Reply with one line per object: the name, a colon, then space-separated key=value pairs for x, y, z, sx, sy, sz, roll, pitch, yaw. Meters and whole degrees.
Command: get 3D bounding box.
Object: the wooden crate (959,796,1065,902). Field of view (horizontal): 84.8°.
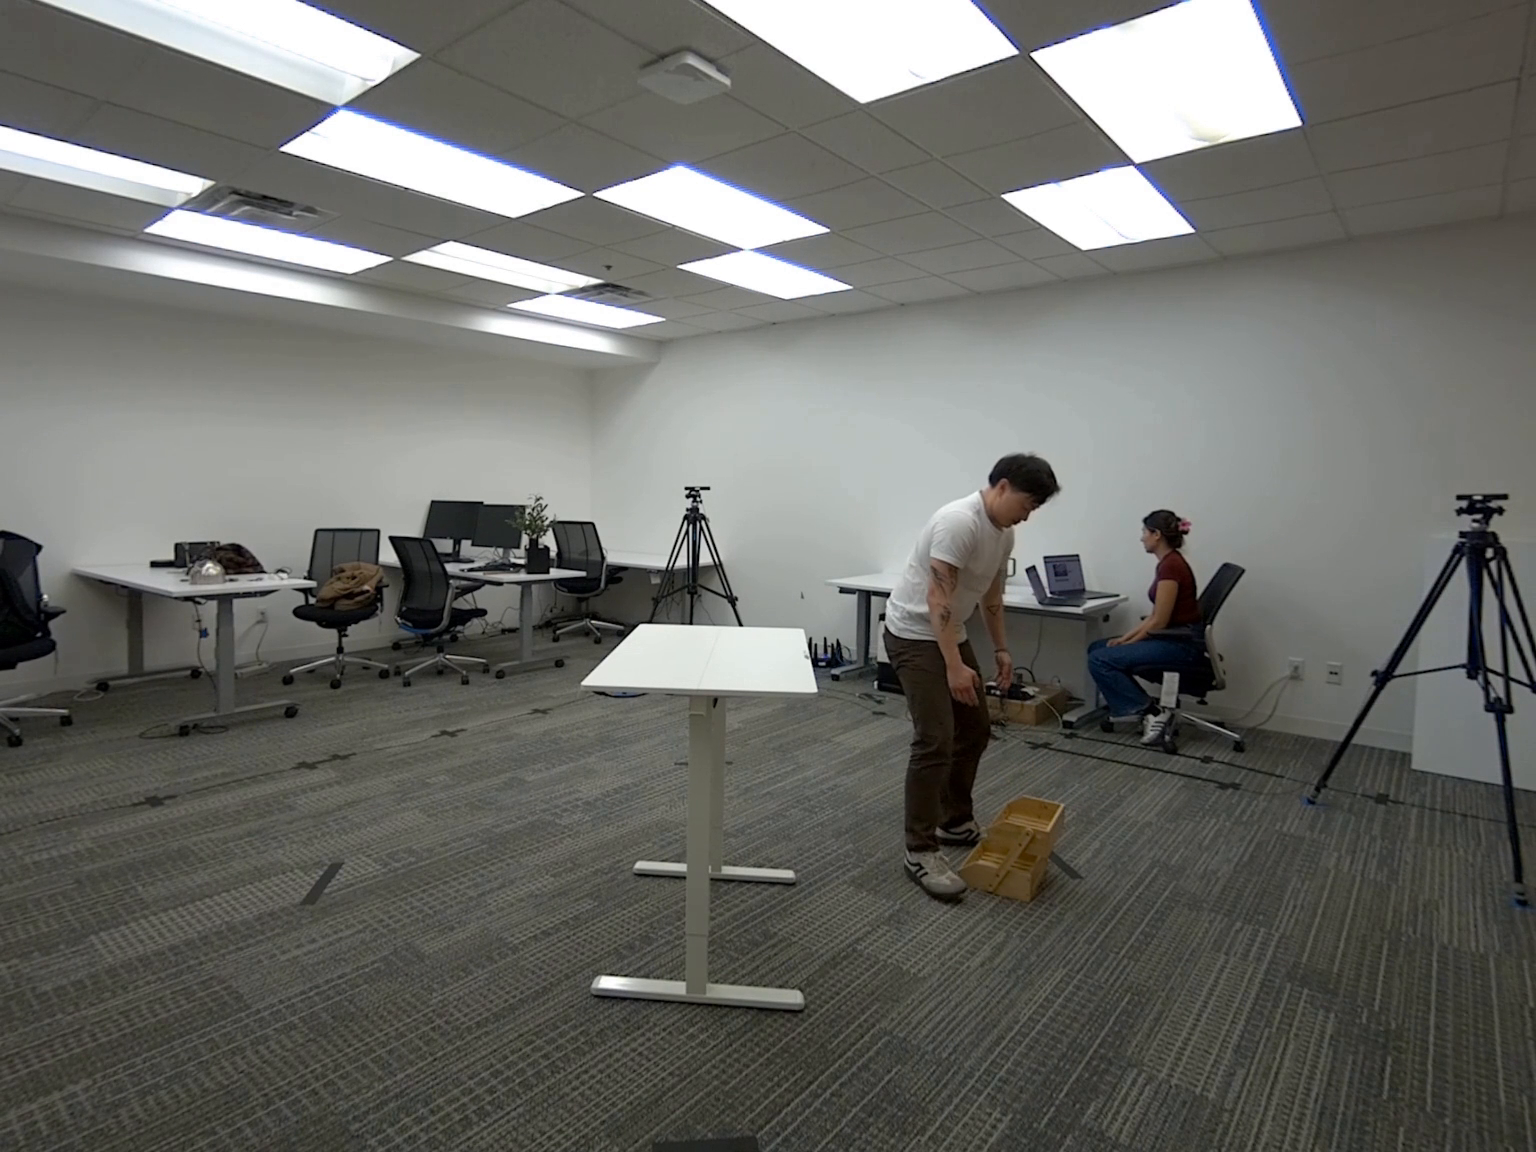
wooden crate: x=0.869 y=0.952 z=3.071 sx=0.311 sy=0.272 sz=0.316 roll=5 pitch=6 yaw=30
